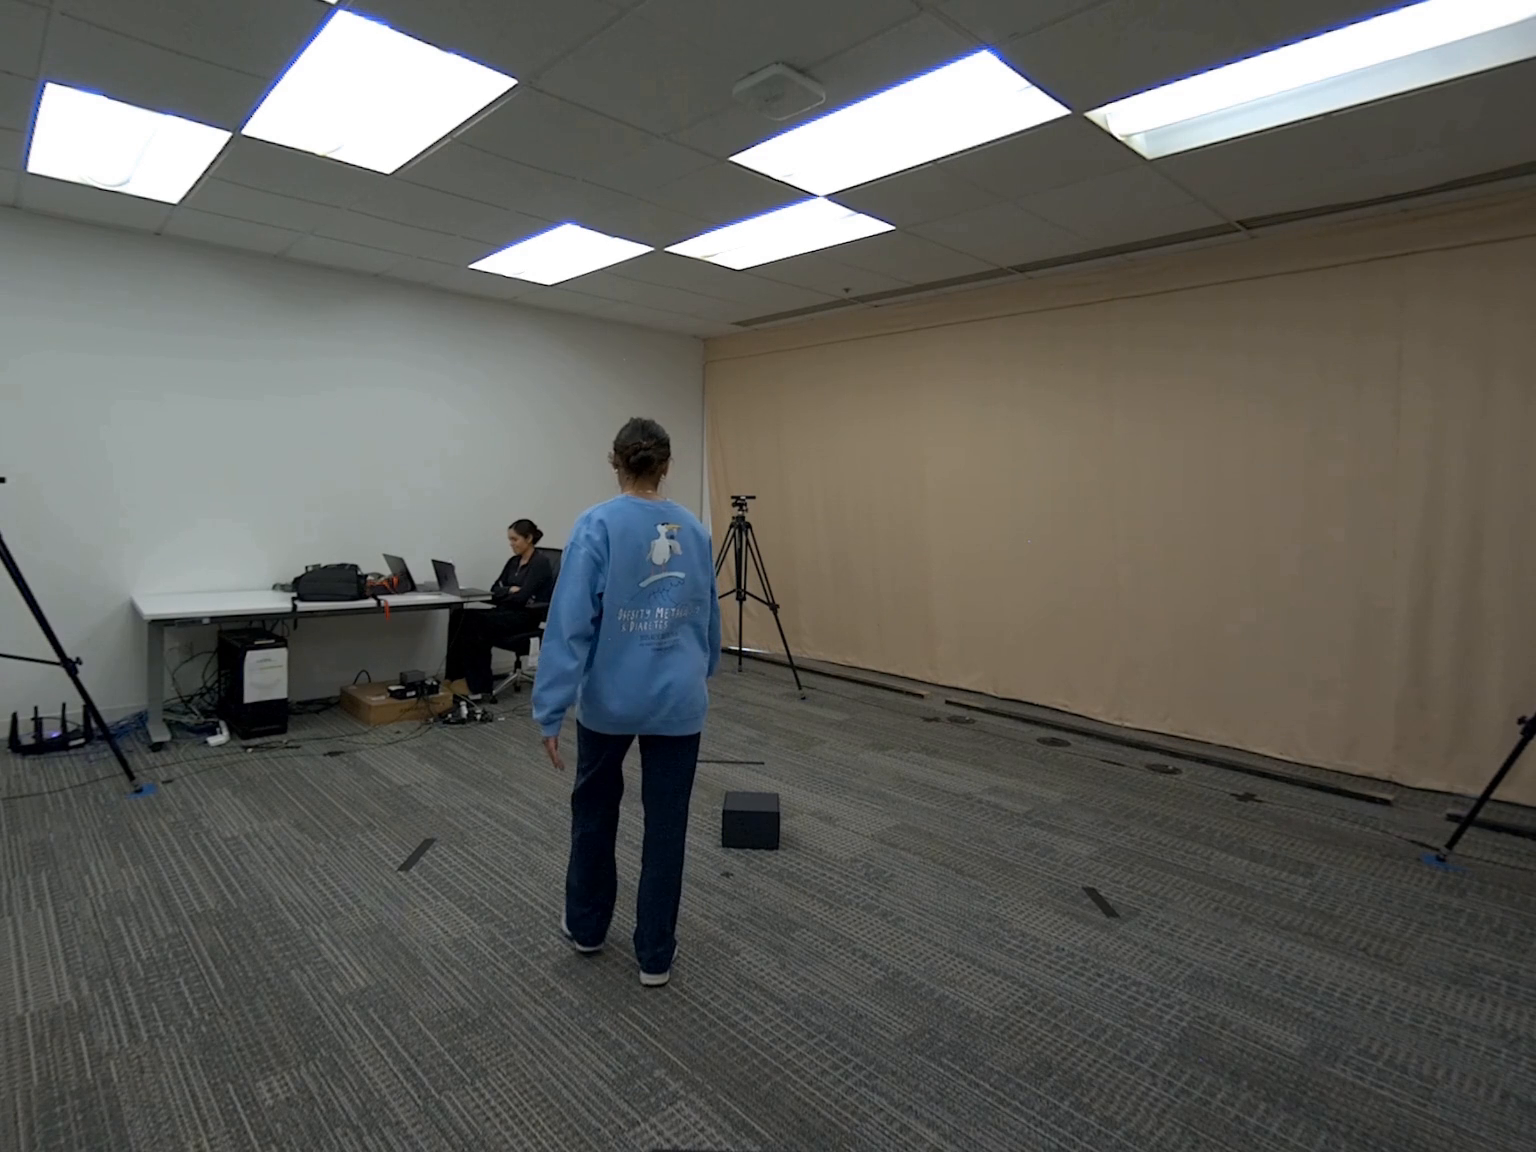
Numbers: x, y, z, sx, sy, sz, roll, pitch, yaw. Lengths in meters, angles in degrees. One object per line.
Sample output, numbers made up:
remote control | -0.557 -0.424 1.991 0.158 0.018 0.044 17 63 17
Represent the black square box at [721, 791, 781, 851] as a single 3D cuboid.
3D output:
black square box | -0.073 0.989 3.436 0.228 0.155 0.217 2 3 1
